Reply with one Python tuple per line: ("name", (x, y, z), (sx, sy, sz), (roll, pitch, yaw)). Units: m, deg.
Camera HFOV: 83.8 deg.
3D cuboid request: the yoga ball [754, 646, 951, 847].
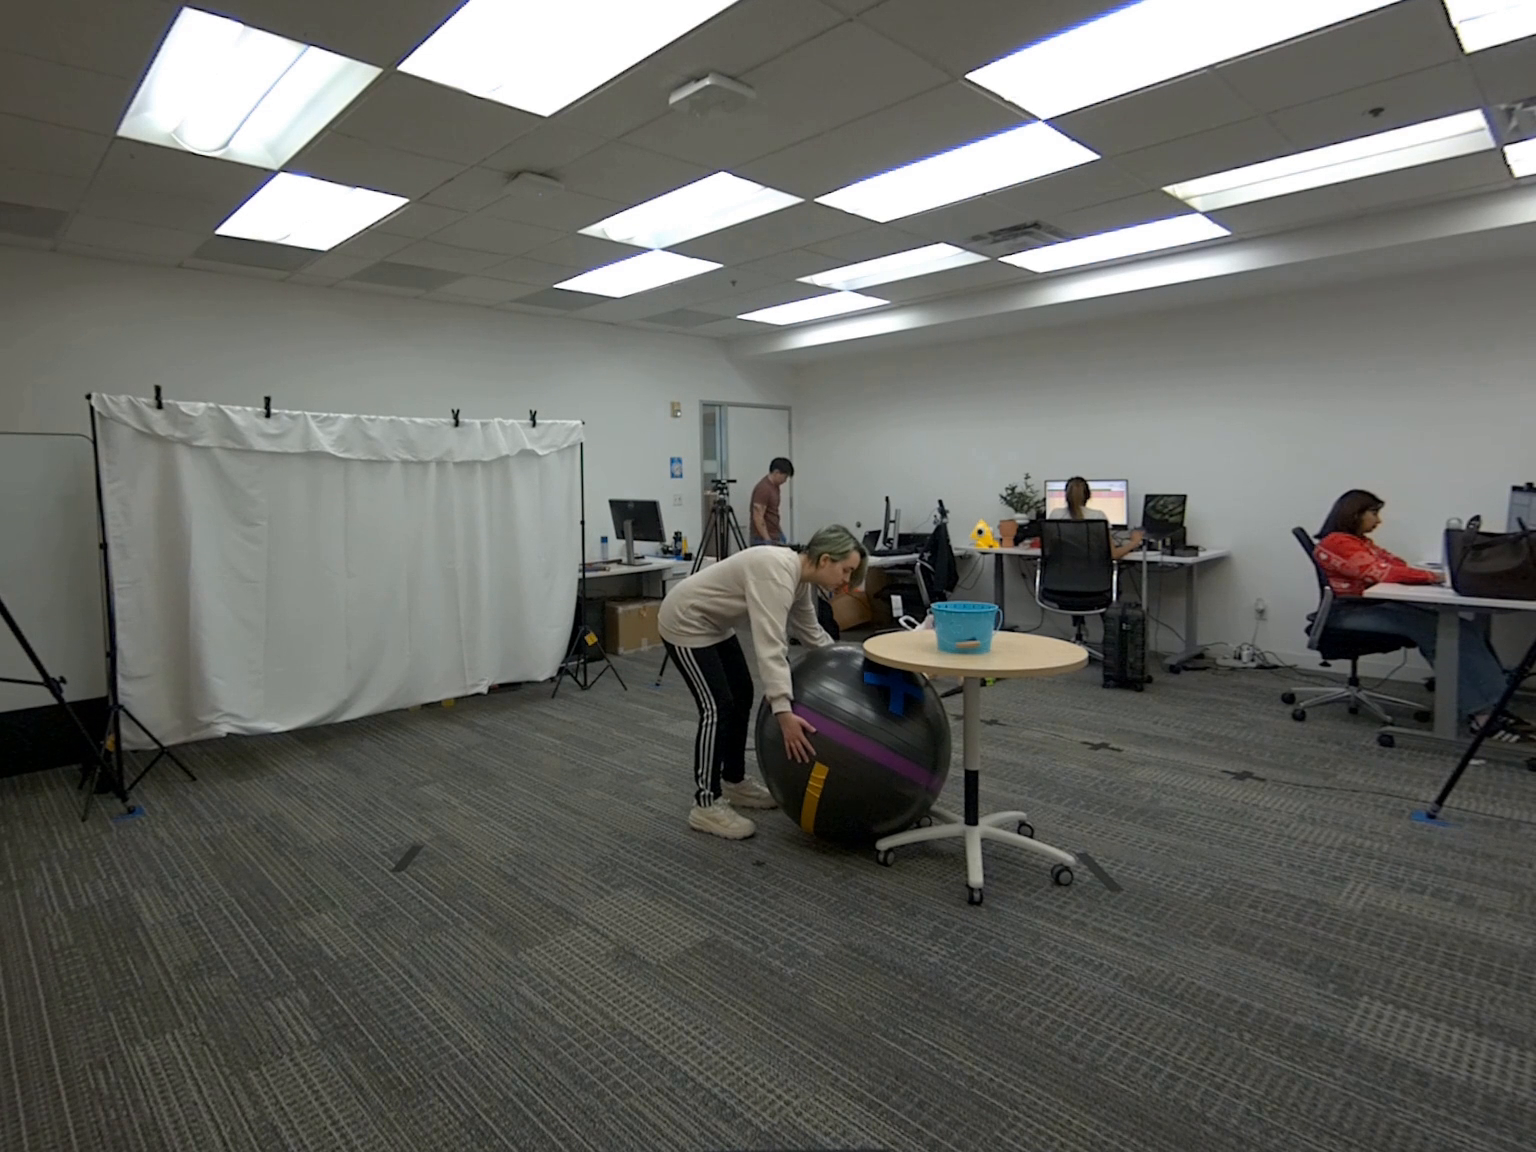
("yoga ball", (0.320, 0.642, 3.333), (0.757, 0.755, 0.762), (-1, 5, -2))
